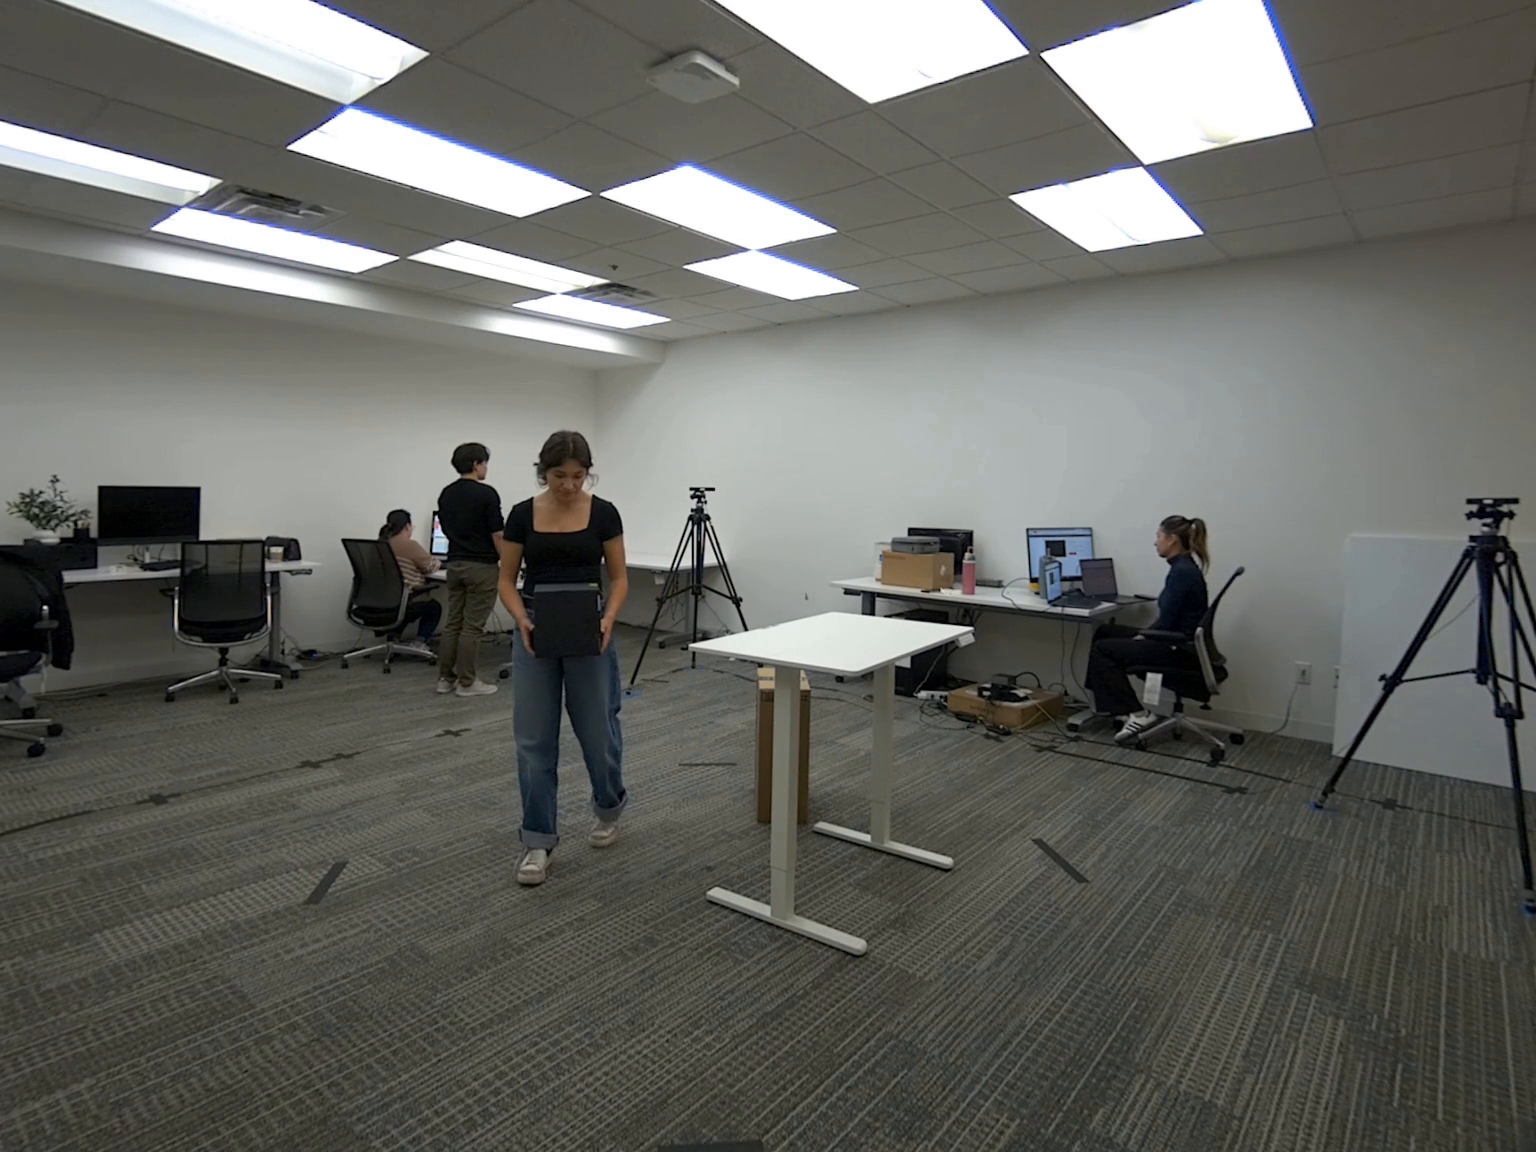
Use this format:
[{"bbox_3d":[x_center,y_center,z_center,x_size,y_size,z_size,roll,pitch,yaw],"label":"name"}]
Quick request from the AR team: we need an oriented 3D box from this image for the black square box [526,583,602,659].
[{"bbox_3d":[-0.697,0.142,2.900,0.215,0.227,0.158,0,5,-7],"label":"black square box"}]
